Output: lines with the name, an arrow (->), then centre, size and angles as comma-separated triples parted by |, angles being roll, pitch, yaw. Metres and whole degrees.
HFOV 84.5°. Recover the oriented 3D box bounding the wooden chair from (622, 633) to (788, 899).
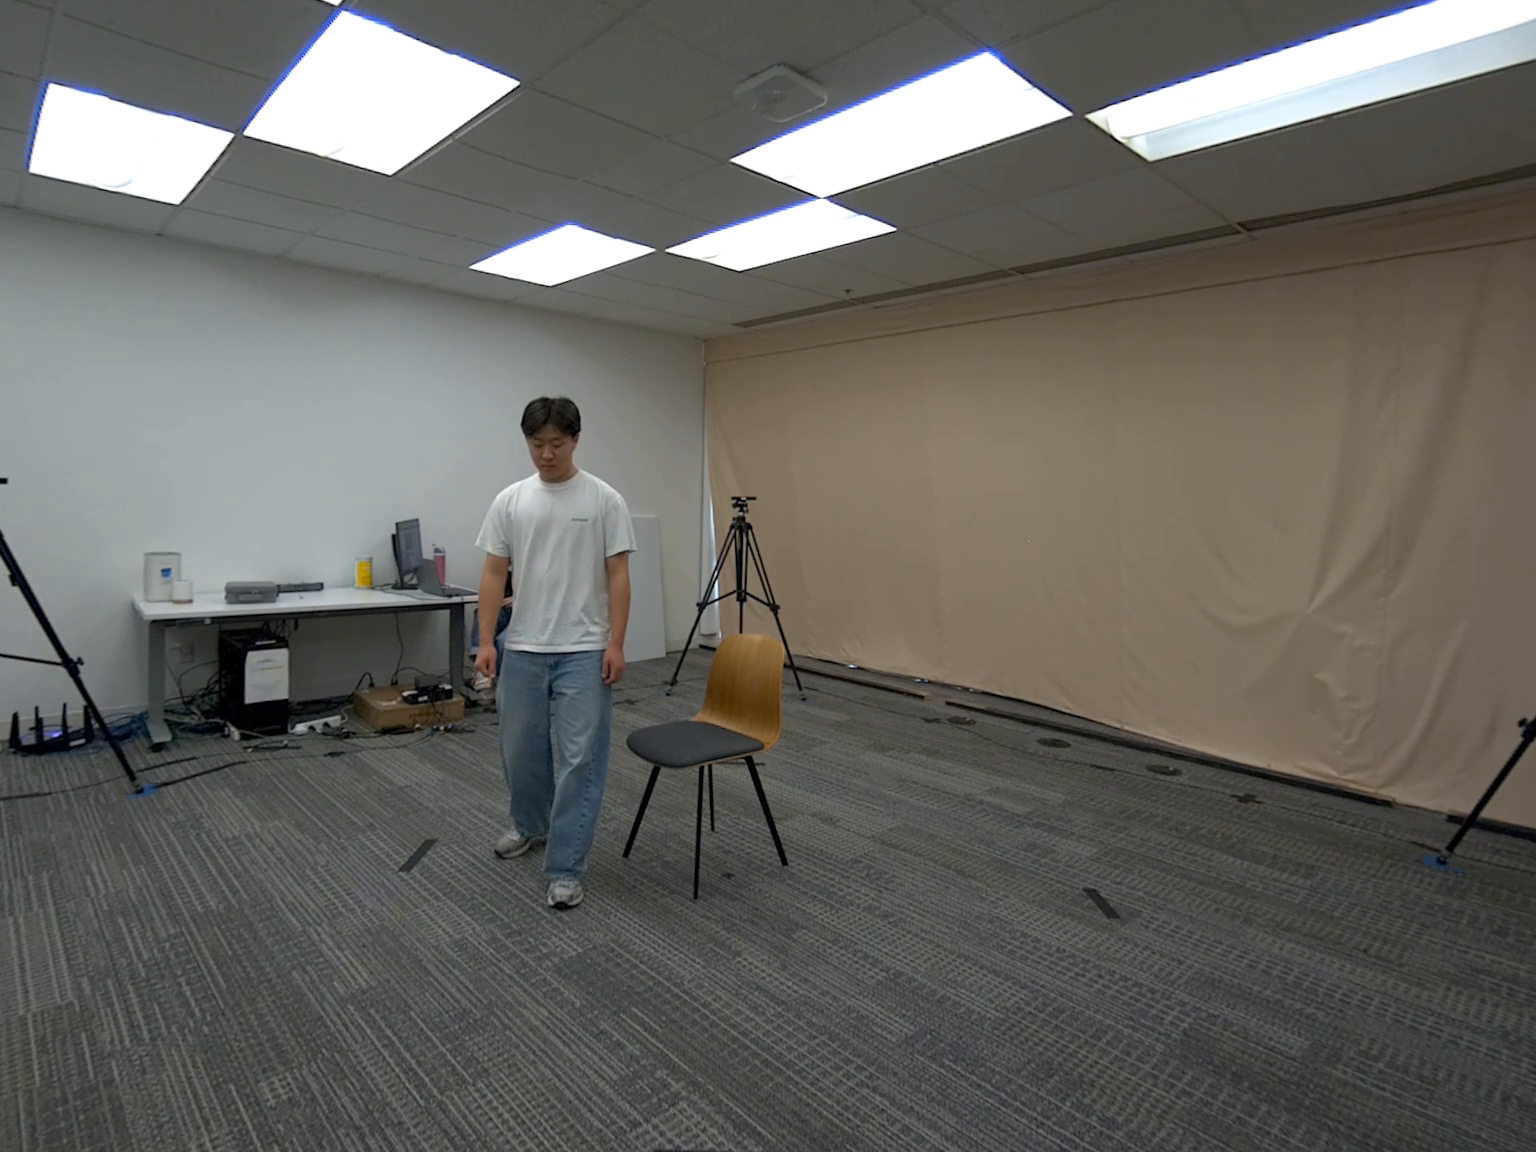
wooden chair -> -0.241, 0.669, 3.192 | 0.510, 0.877, 0.490 | 4, 1, -43
